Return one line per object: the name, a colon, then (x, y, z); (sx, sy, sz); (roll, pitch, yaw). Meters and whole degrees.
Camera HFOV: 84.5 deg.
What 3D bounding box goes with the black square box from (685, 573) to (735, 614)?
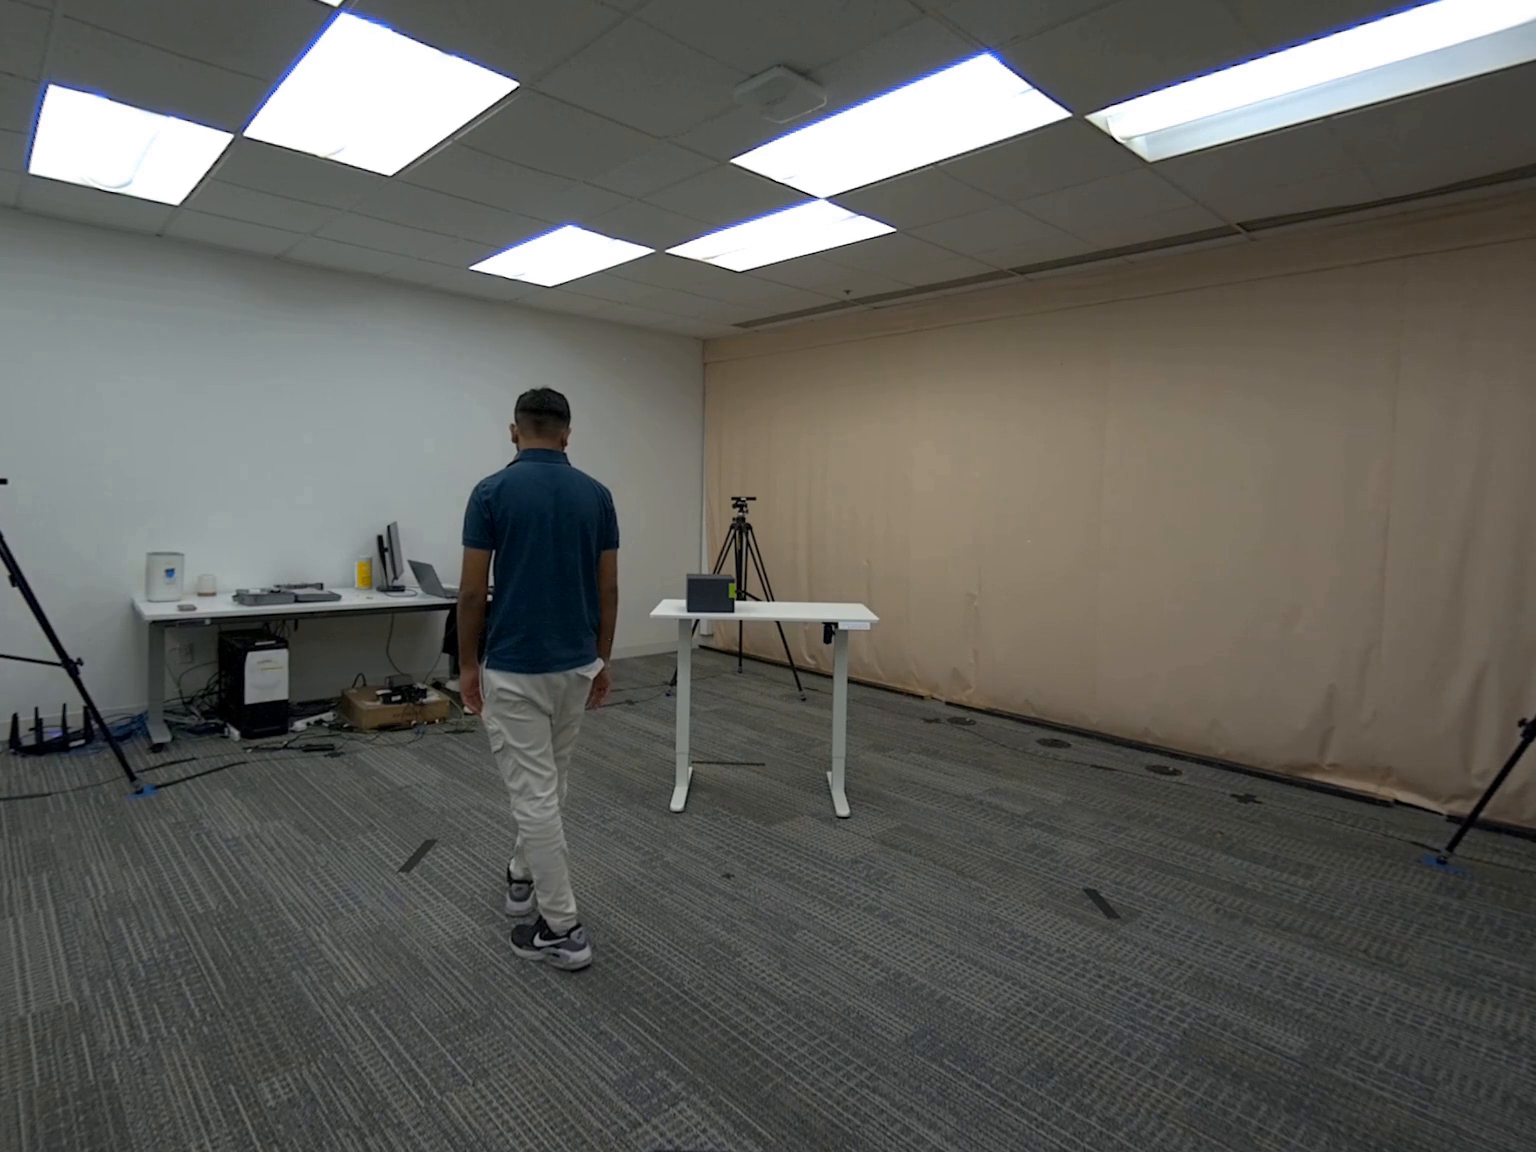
black square box: (-0.257, 0.078, 3.880); (0.217, 0.156, 0.228); (1, 2, -2)
